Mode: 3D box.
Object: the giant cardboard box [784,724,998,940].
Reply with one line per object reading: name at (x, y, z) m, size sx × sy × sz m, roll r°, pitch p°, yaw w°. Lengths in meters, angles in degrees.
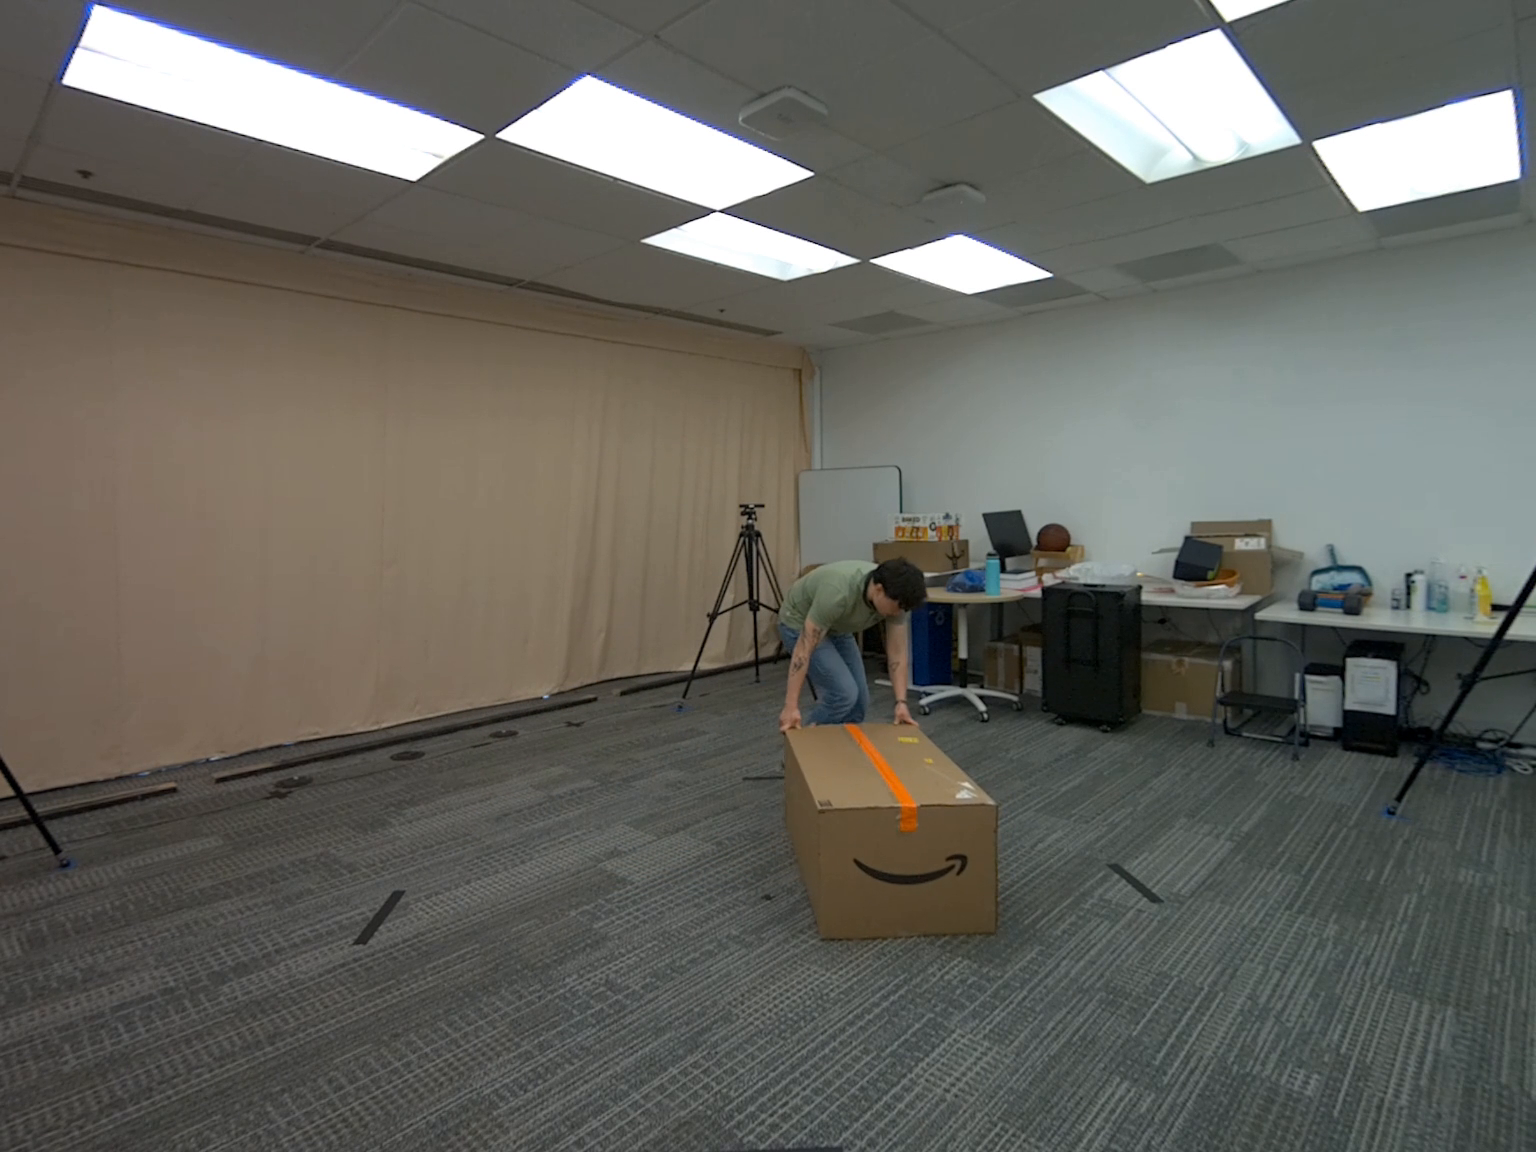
giant cardboard box at (0.404, 0.895, 3.185) m, size 0.575 × 0.425 × 1.032 m, roll 0°, pitch 4°, yaw -5°
